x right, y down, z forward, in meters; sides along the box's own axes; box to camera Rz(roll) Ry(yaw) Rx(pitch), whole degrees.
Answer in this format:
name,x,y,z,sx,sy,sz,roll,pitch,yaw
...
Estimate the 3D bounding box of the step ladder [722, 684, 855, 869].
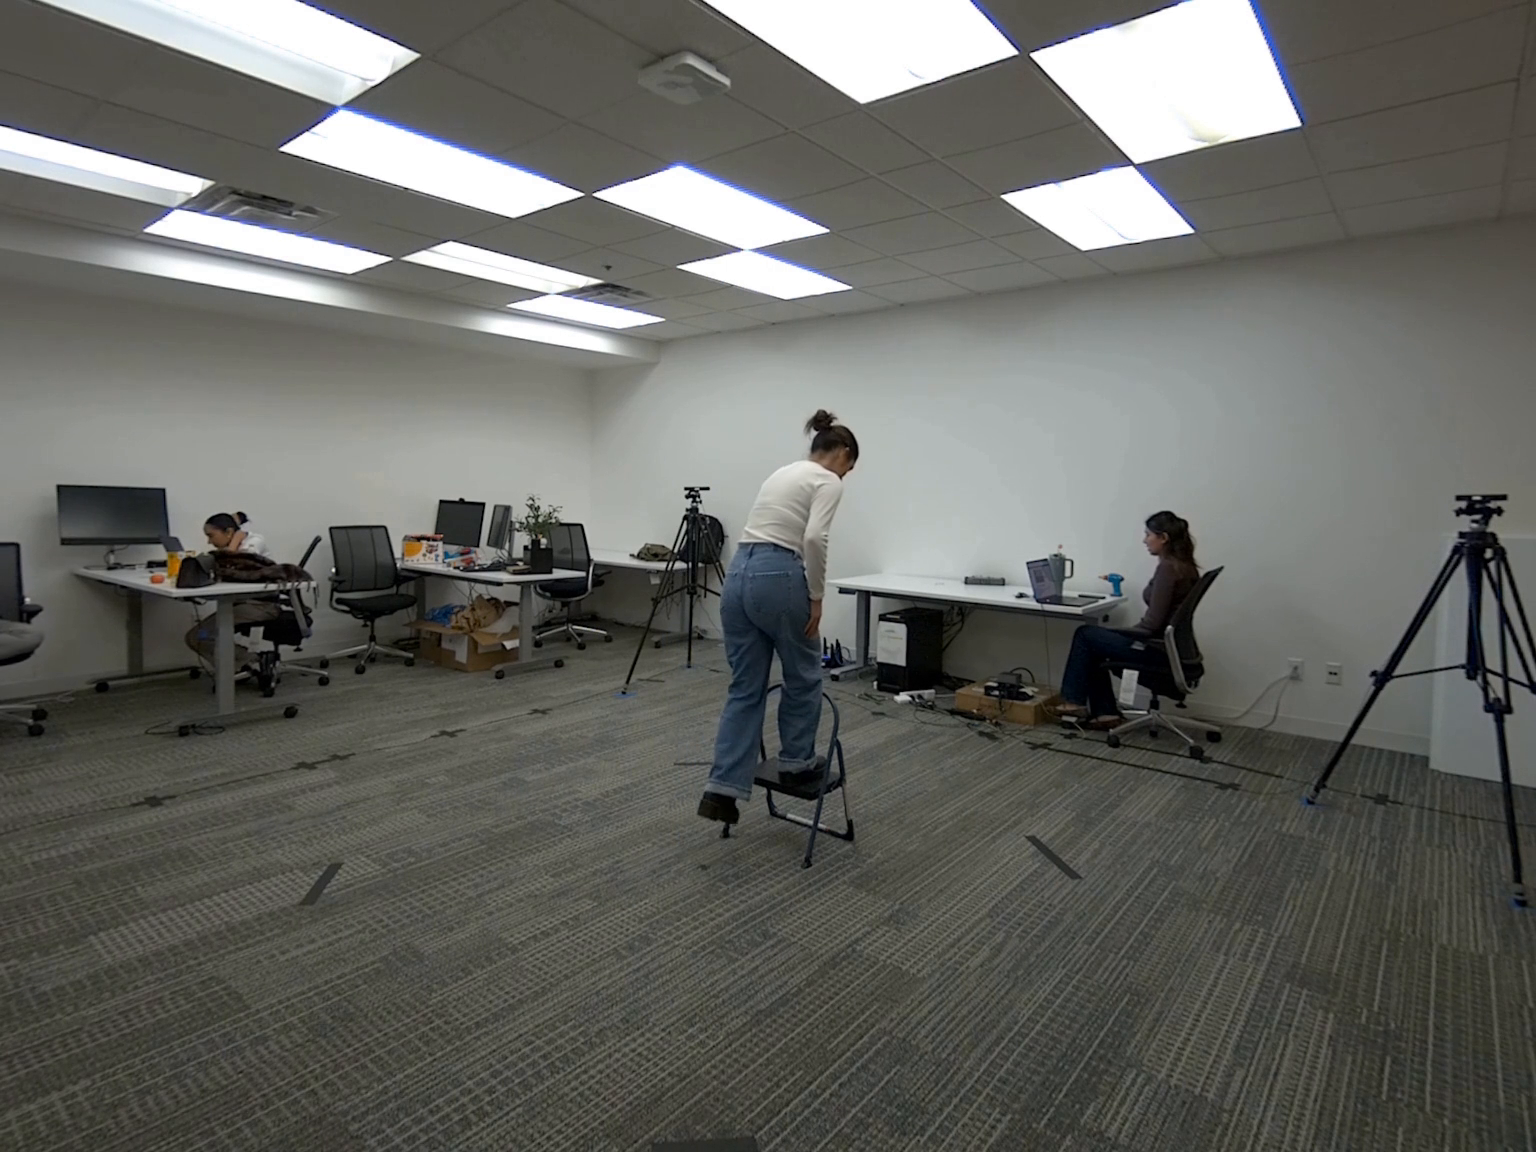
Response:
name,x,y,z,sx,sy,sz,roll,pitch,yaw
step ladder,0.077,0.741,3.375,0.445,0.604,0.339,4,5,38
